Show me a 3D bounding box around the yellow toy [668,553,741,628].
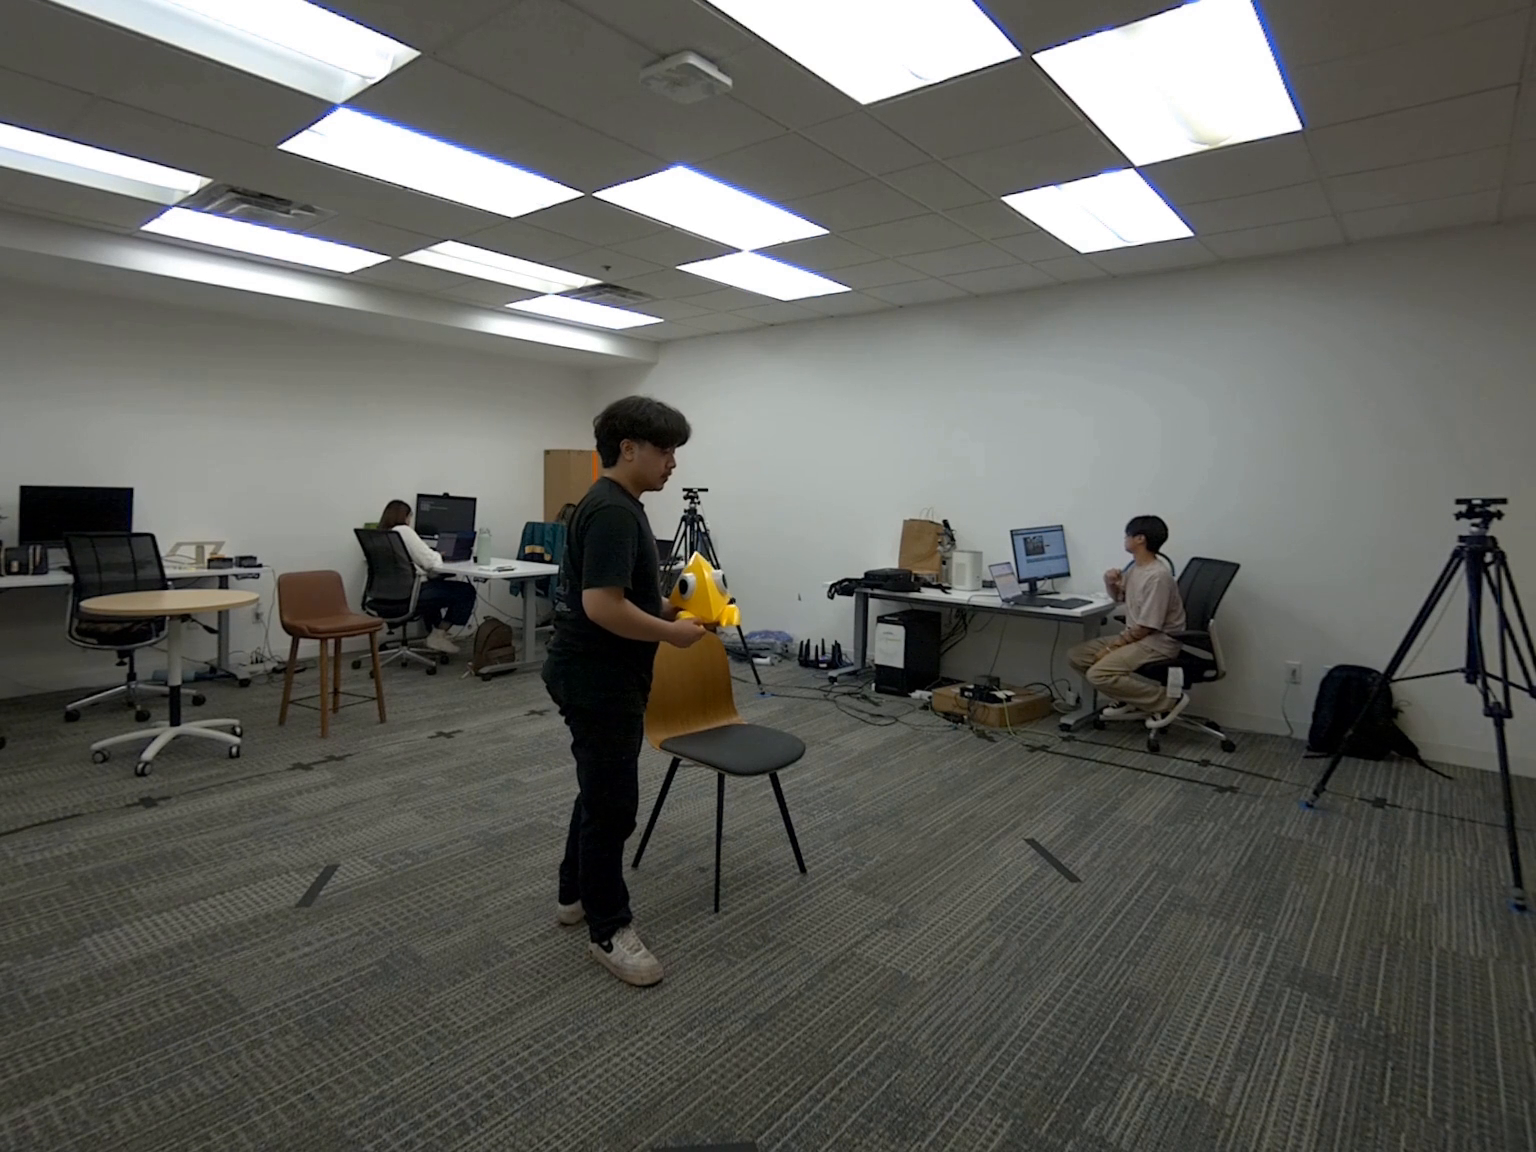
[{"bbox_3d":[-0.206,0.038,2.581,0.202,0.231,0.195,-6,-1,-14],"label":"yellow toy"}]
